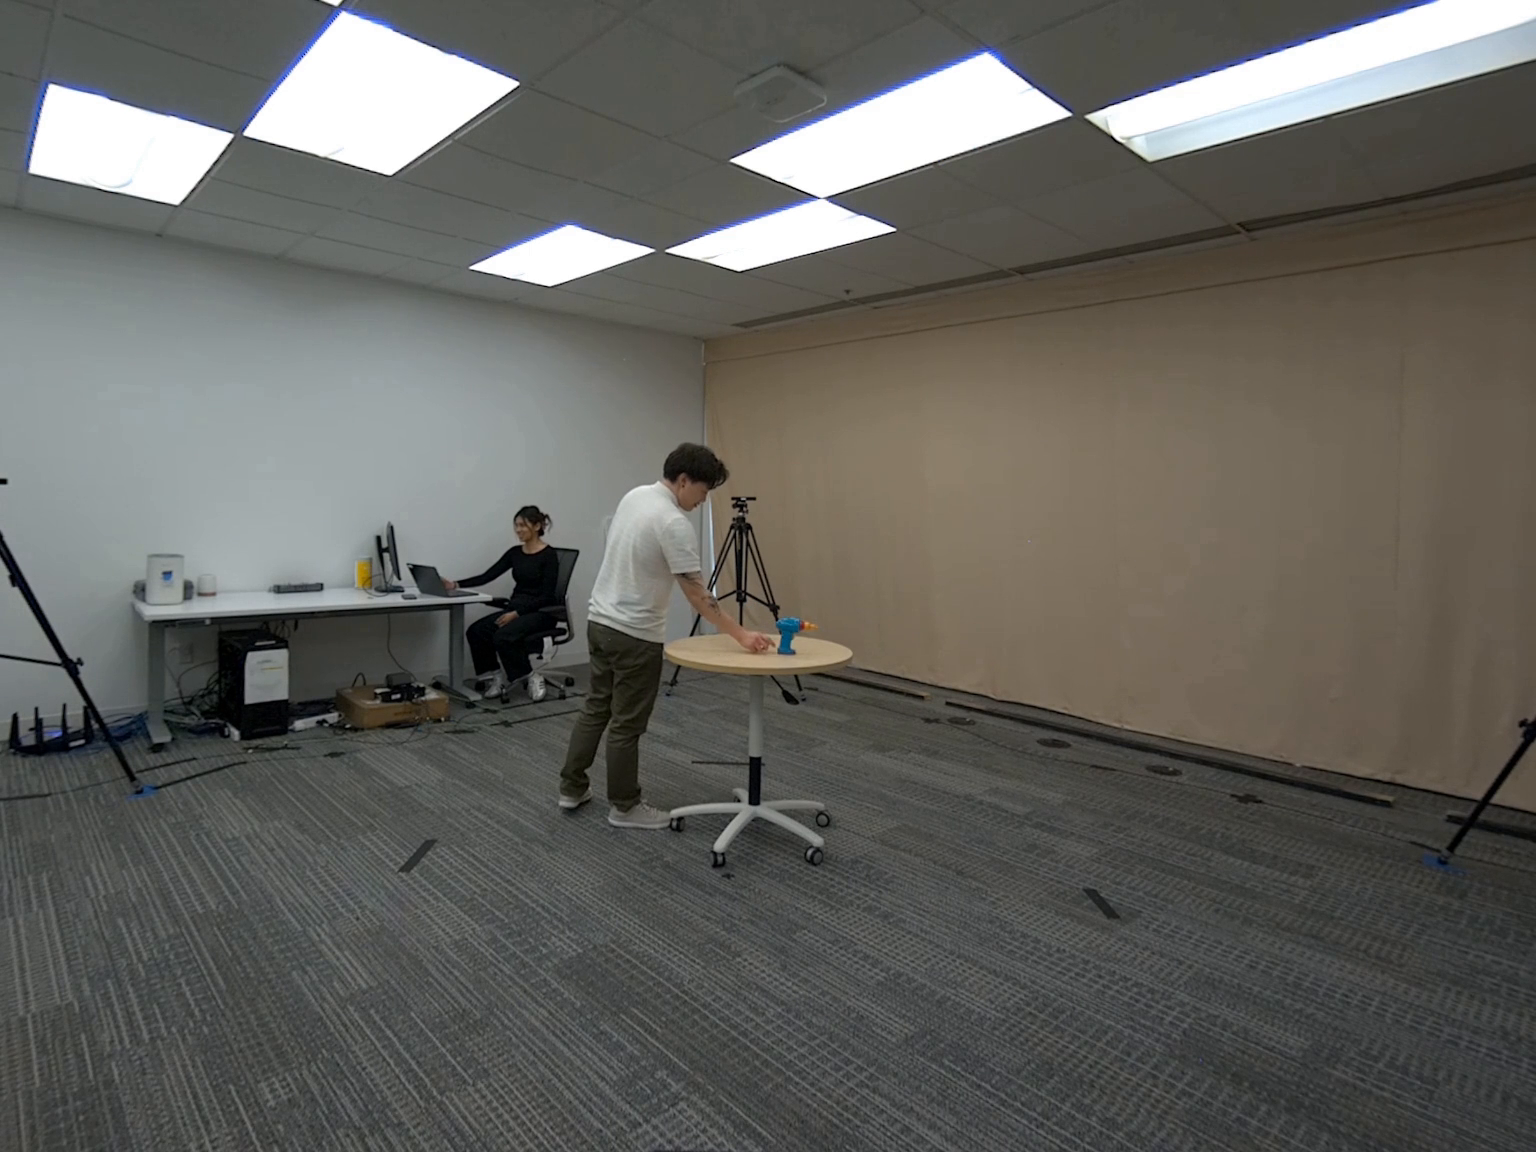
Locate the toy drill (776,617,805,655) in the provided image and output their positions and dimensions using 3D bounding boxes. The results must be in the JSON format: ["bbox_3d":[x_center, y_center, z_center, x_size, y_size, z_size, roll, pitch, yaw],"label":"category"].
[{"bbox_3d":[0.101,0.238,3.326,0.170,0.145,0.061,2,10,5],"label":"toy drill"}]
